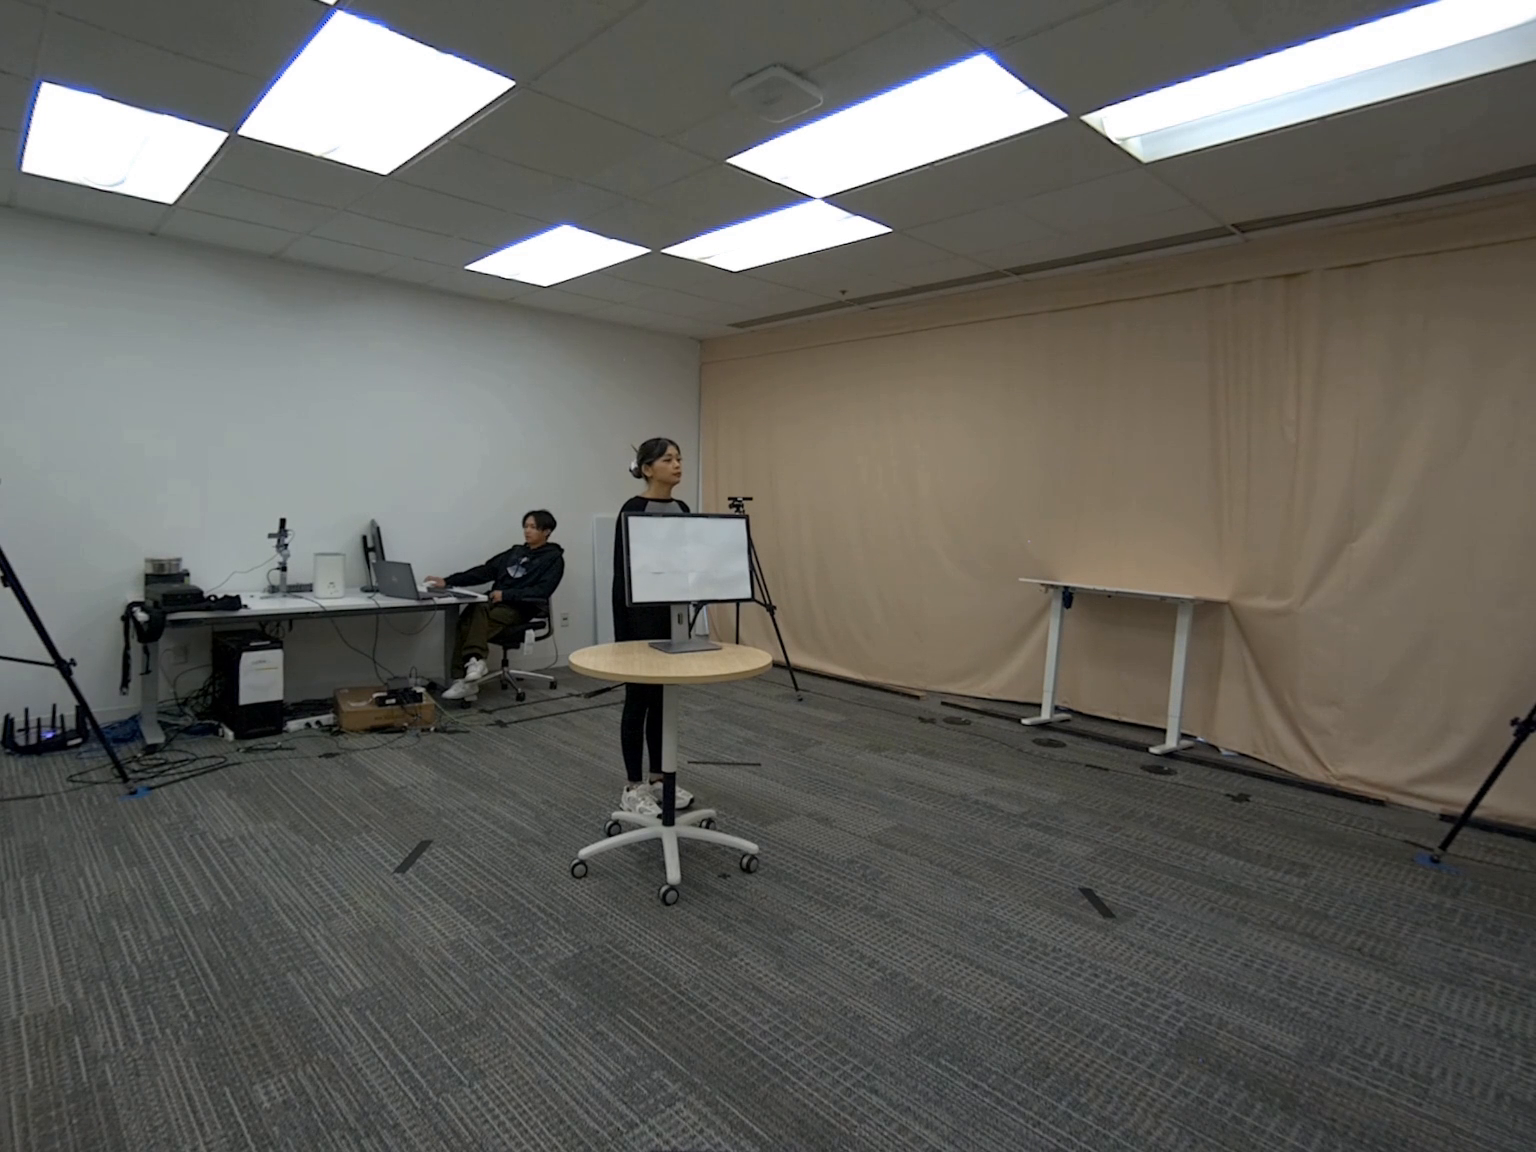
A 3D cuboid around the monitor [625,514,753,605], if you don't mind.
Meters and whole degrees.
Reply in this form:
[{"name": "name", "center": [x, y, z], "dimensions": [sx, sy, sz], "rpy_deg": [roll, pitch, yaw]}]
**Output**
[{"name": "monitor", "center": [-0.336, 0.021, 3.372], "dimensions": [0.528, 0.521, 0.192], "rpy_deg": [-1, 6, -32]}]
